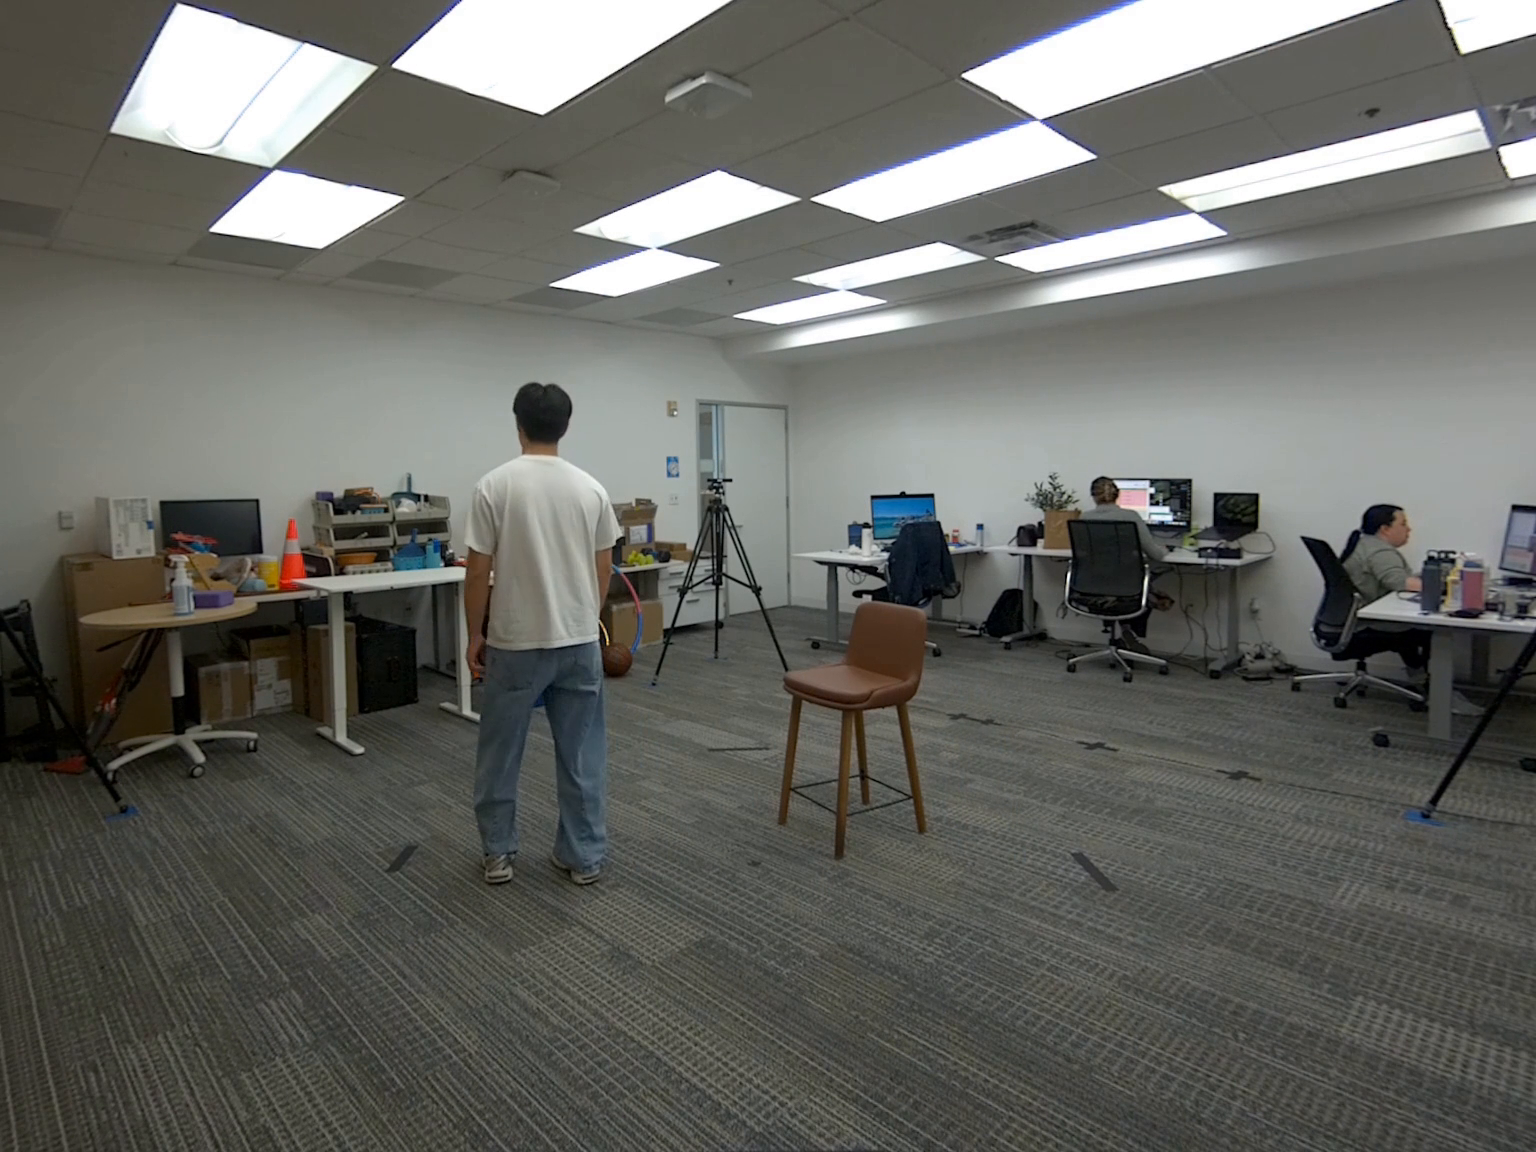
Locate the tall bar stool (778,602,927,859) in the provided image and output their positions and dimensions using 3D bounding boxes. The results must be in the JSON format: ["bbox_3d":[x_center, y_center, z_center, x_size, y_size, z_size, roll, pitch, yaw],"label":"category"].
[{"bbox_3d":[0.339,0.570,3.389,0.456,0.887,0.469,-1,3,-32],"label":"tall bar stool"}]
